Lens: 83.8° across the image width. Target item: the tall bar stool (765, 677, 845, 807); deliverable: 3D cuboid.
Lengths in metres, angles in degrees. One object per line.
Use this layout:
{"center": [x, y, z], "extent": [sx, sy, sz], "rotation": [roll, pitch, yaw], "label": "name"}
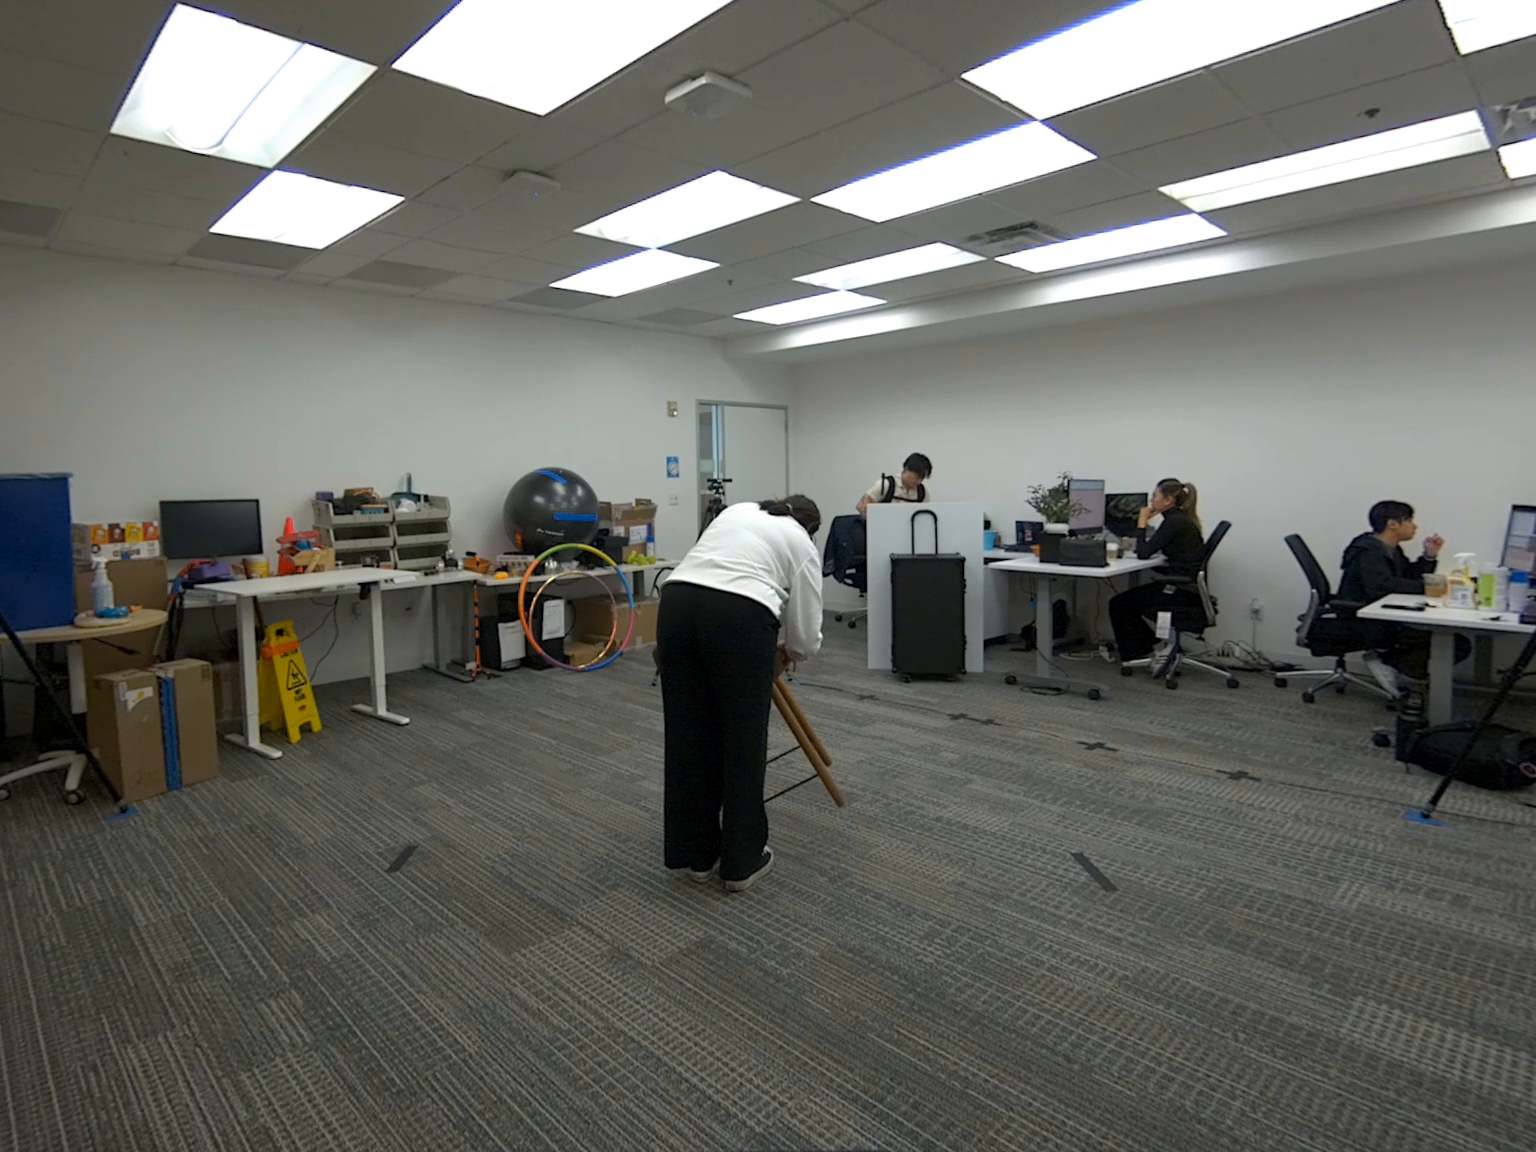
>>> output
{"center": [-0.082, 0.537, 3.402], "extent": [0.456, 0.881, 0.472], "rotation": [-27, 8, -1], "label": "tall bar stool"}
